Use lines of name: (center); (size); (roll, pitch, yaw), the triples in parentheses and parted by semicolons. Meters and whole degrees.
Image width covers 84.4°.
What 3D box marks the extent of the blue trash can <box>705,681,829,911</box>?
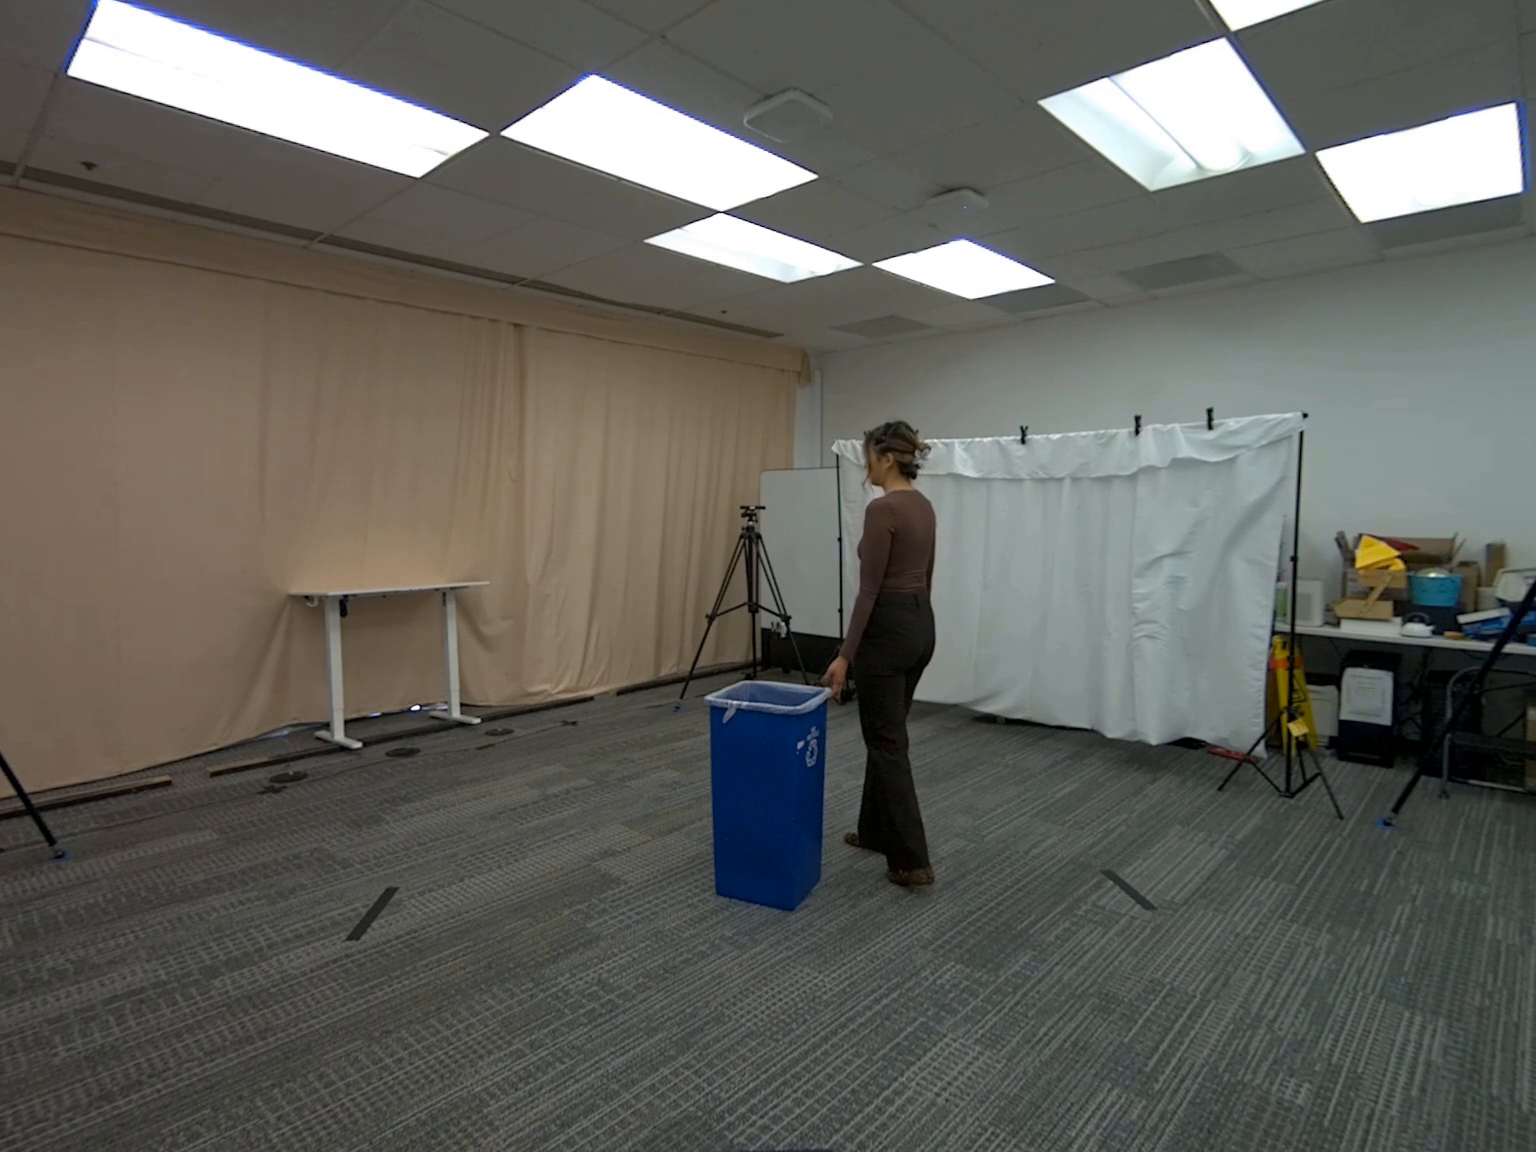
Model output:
blue trash can: (0.007, 0.778, 3.069); (0.388, 0.712, 0.365); (2, 4, 25)
